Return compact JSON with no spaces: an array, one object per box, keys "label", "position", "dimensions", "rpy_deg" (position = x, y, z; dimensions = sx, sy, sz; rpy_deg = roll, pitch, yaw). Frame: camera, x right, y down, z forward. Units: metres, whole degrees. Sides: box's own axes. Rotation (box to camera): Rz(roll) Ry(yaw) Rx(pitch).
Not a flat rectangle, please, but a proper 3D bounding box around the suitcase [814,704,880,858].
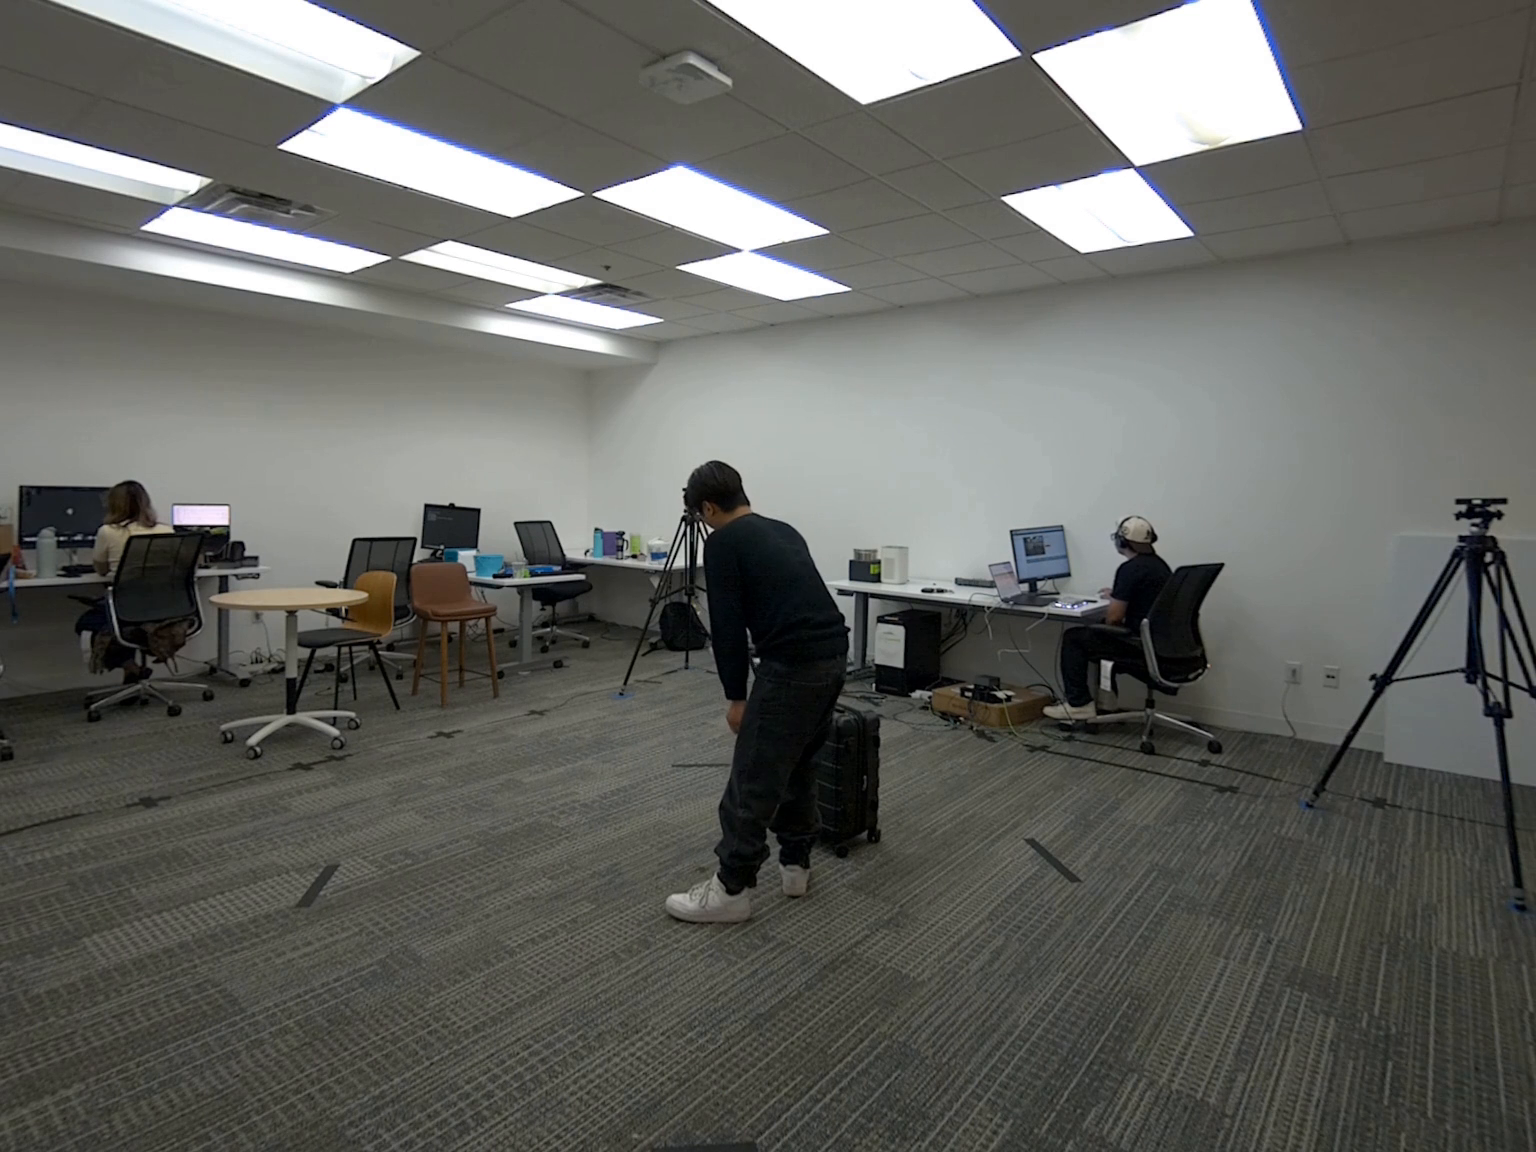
[{"label":"suitcase","position":[0.248,0.769,3.427],"dimensions":[0.241,0.548,0.388],"rpy_deg":[-1,4,-38]}]
